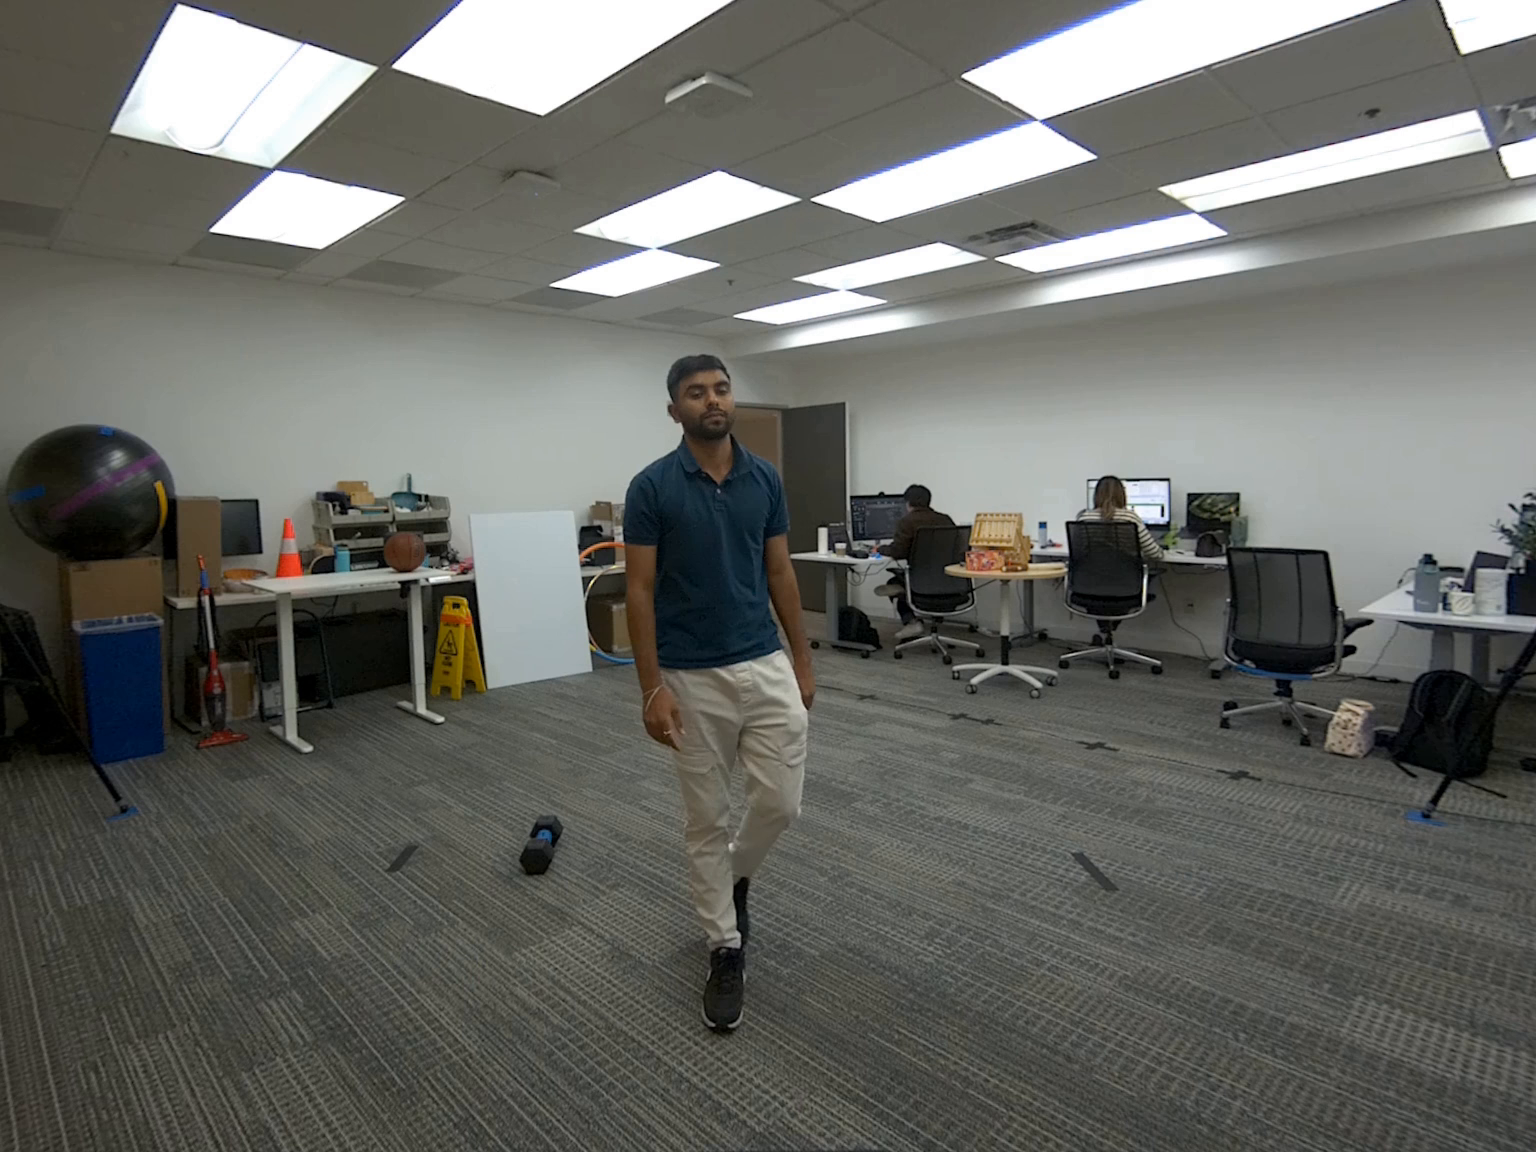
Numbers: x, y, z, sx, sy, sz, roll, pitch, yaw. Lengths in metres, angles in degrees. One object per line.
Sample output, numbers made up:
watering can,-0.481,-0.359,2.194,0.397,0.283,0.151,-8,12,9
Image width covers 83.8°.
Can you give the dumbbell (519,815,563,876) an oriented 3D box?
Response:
dumbbell,-0.838,0.998,3.184,0.108,0.123,0.296,28,2,-7
